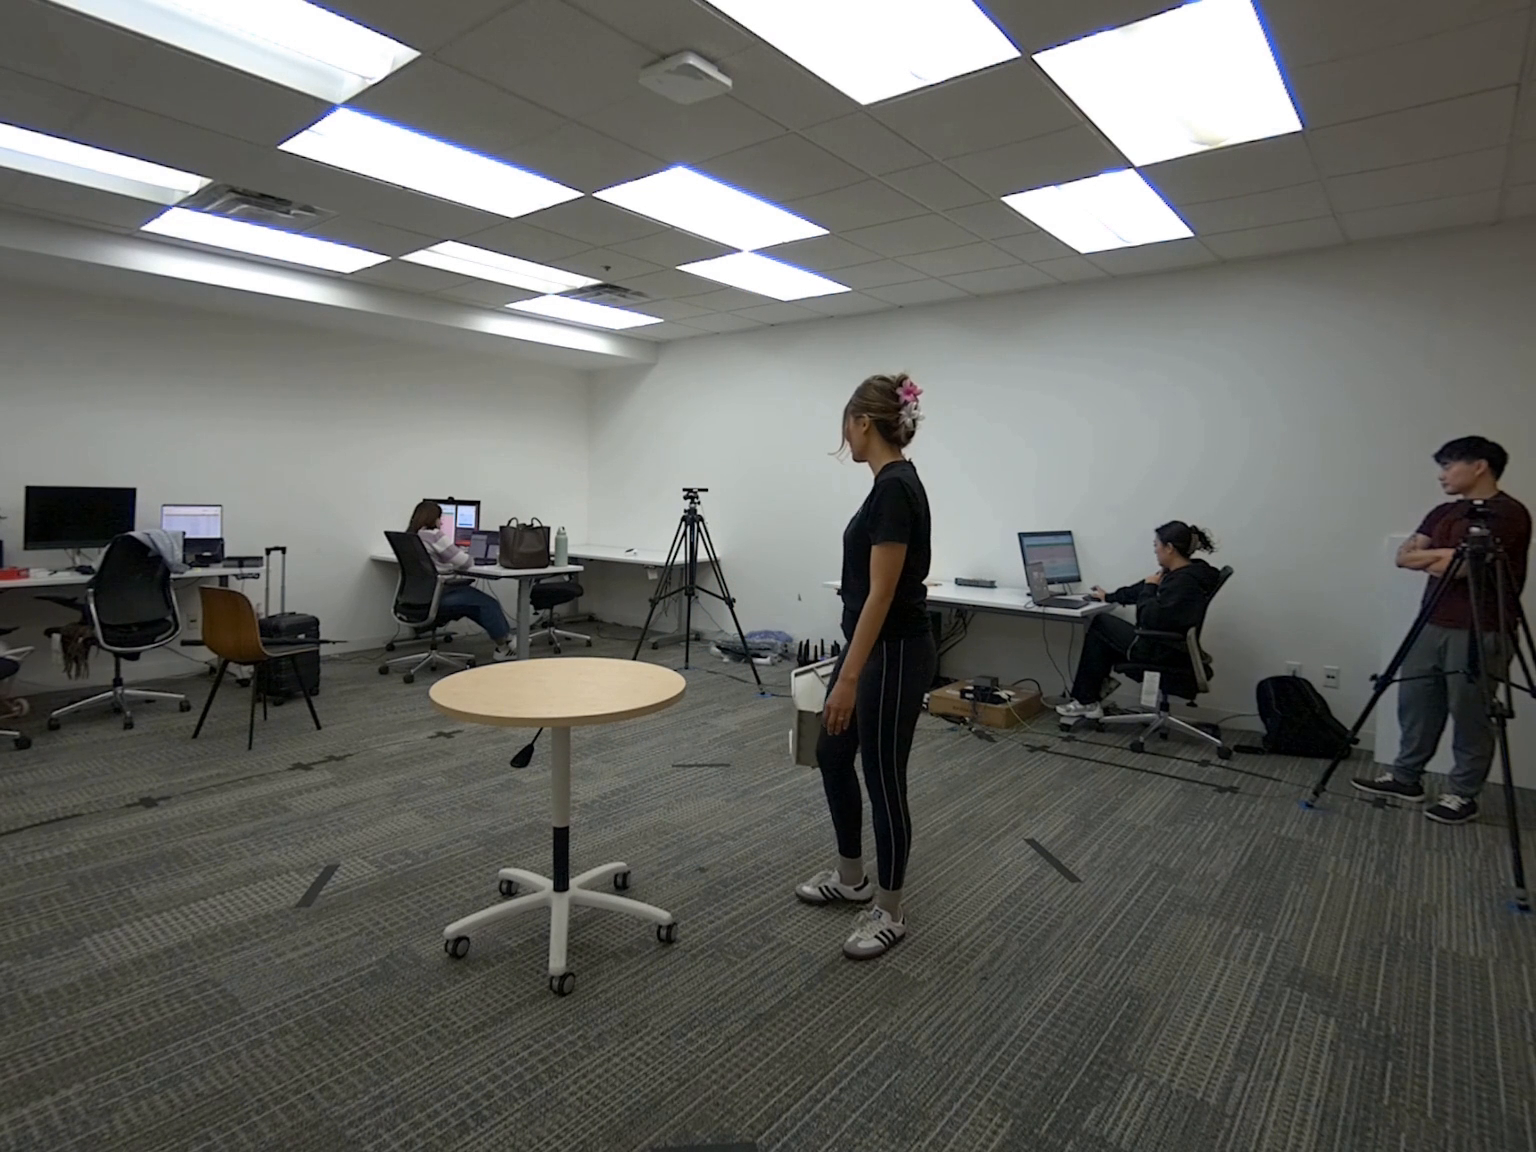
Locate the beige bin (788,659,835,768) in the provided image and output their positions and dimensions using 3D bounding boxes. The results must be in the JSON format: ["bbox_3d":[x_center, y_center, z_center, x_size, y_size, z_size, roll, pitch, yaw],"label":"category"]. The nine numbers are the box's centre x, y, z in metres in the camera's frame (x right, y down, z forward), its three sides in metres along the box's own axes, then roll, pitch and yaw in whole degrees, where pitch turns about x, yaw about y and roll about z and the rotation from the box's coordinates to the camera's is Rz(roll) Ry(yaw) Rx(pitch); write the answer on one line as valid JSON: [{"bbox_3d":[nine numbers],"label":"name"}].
[{"bbox_3d":[0.240,0.482,3.069,0.374,0.196,0.410,-15,-39,-11],"label":"beige bin"}]
